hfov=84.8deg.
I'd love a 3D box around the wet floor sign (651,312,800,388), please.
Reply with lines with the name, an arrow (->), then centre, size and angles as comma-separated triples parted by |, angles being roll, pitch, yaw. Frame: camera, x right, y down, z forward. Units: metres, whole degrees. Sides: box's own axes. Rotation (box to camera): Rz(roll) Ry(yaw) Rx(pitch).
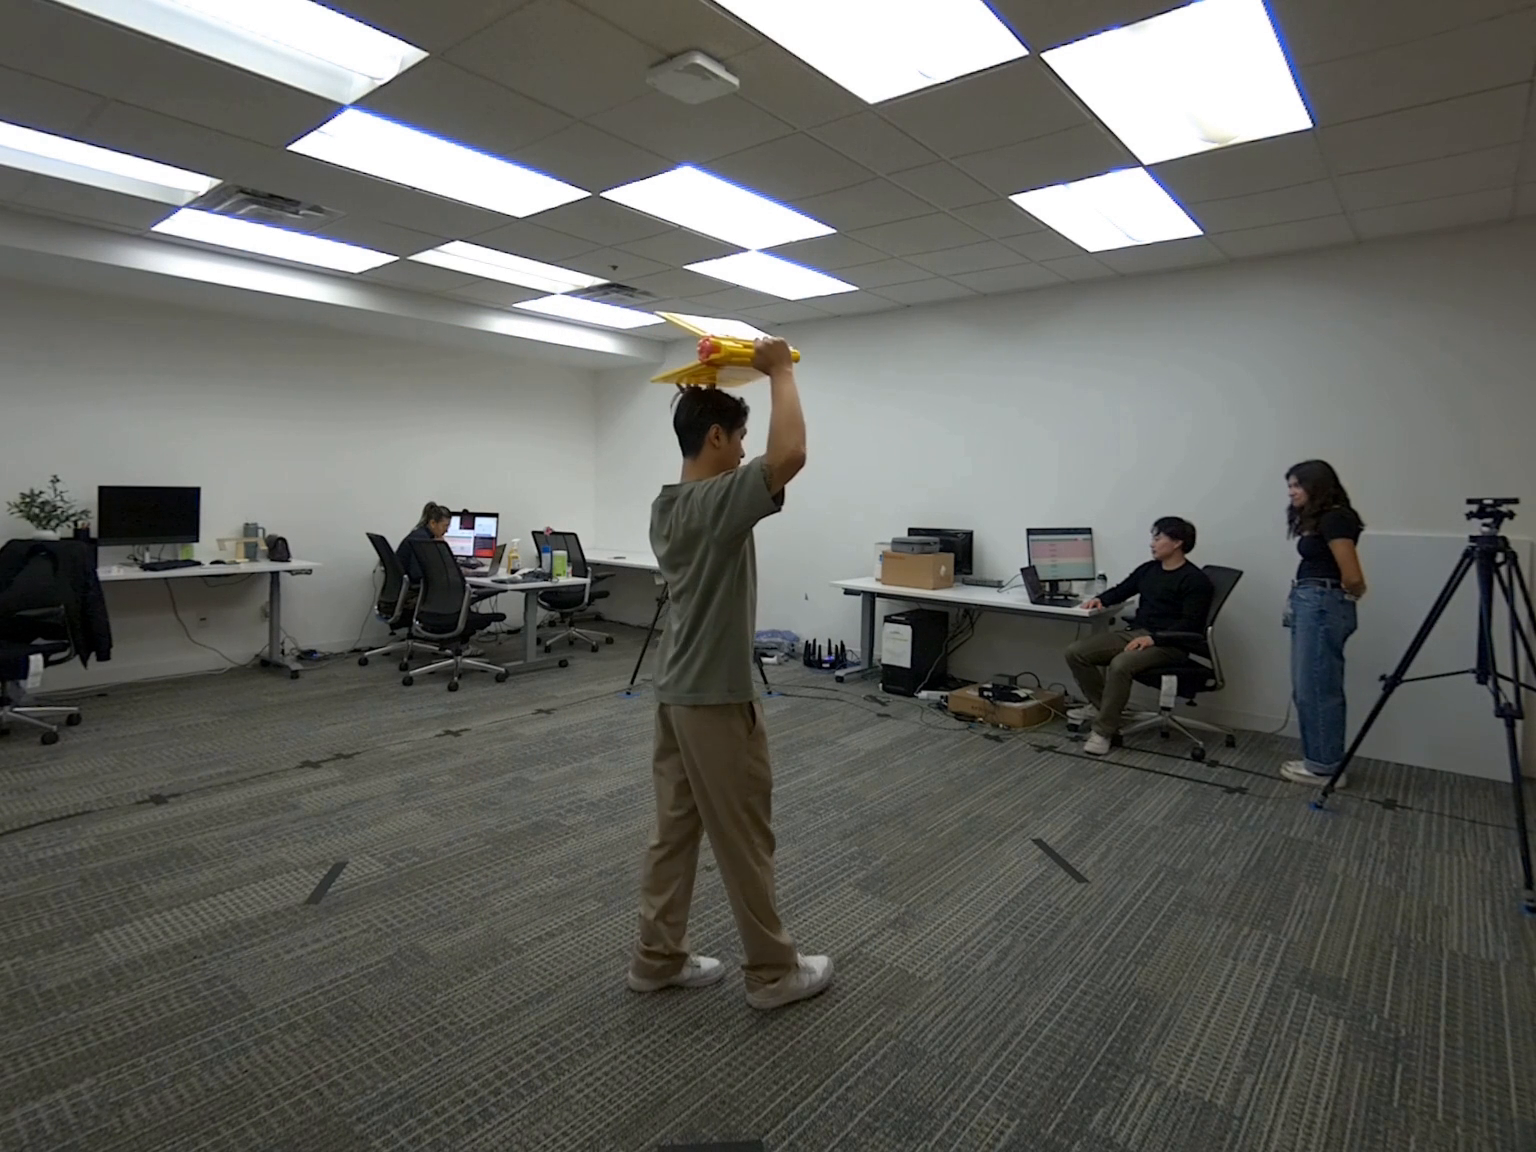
wet floor sign -> -0.129, -0.632, 2.382 | 0.276, 0.287, 0.666 | 2, 12, -22
